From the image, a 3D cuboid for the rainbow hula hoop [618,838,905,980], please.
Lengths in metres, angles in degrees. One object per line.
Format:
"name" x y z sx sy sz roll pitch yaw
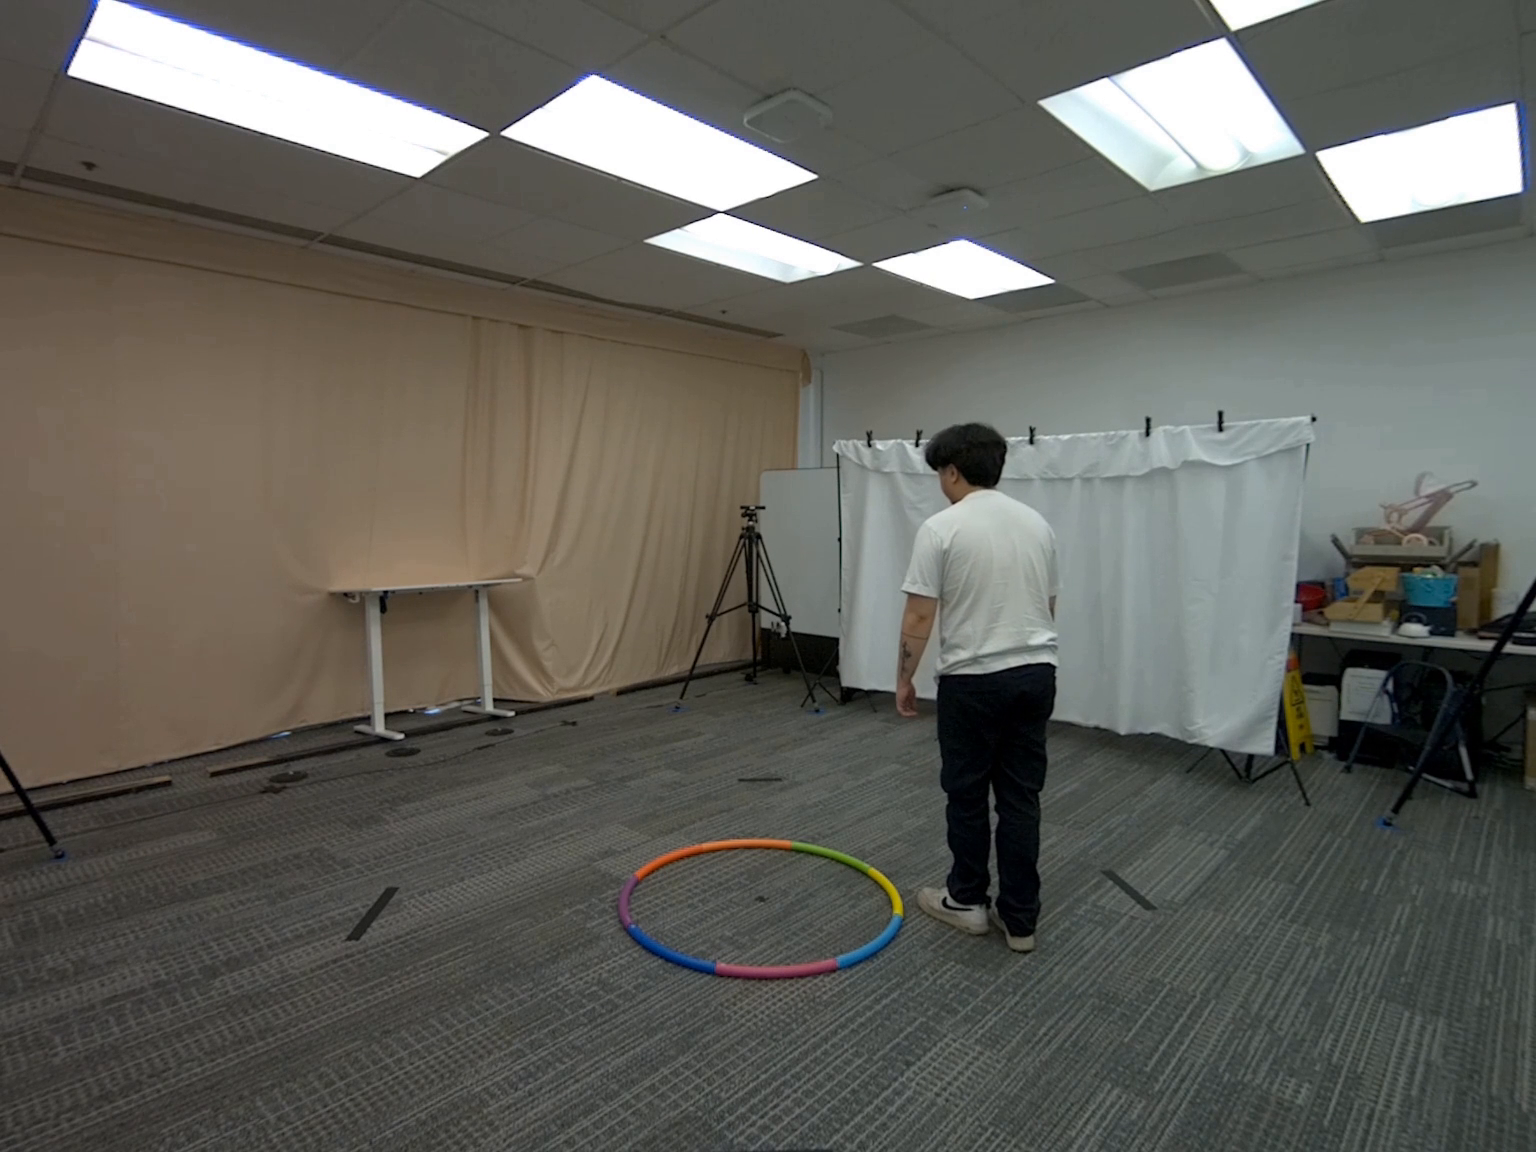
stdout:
"rainbow hula hoop" -0.024 1.121 2.954 0.985 0.051 0.989 -1 5 -2
